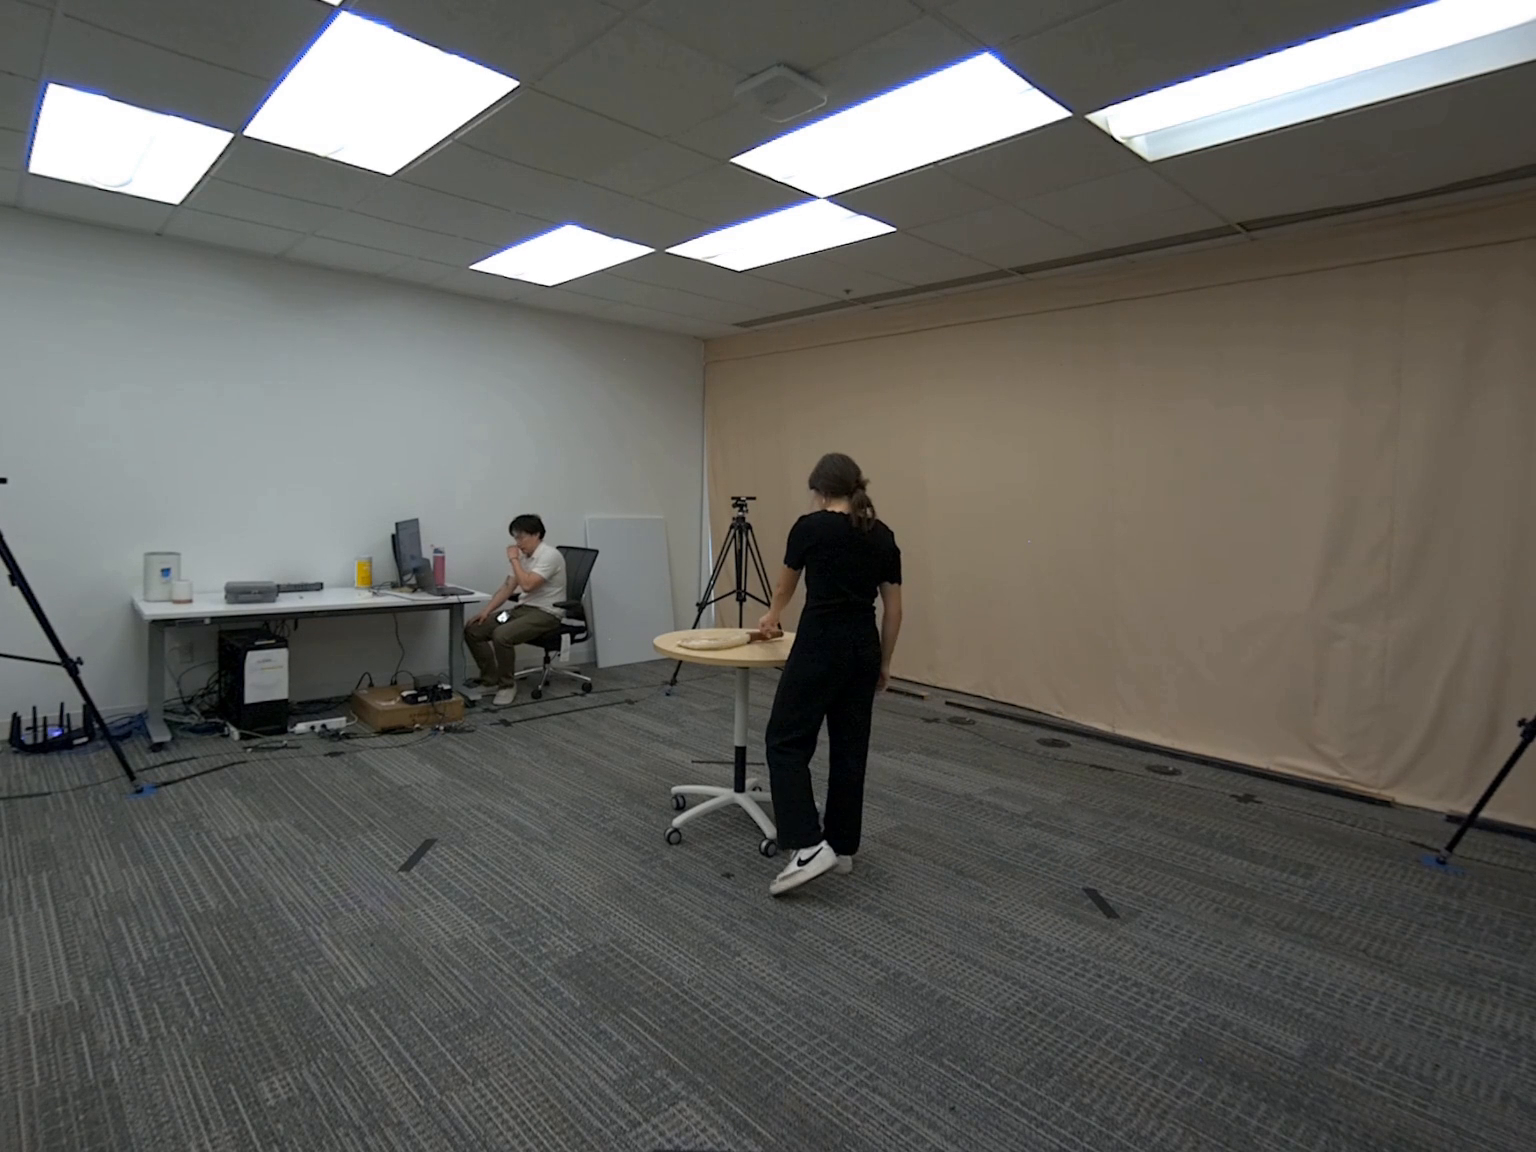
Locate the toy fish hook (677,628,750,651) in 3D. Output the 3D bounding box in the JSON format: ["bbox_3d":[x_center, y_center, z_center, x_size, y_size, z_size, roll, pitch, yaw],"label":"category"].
[{"bbox_3d":[-0.167,0.259,3.557,0.495,0.048,0.231,-3,11,-37],"label":"toy fish hook"}]
